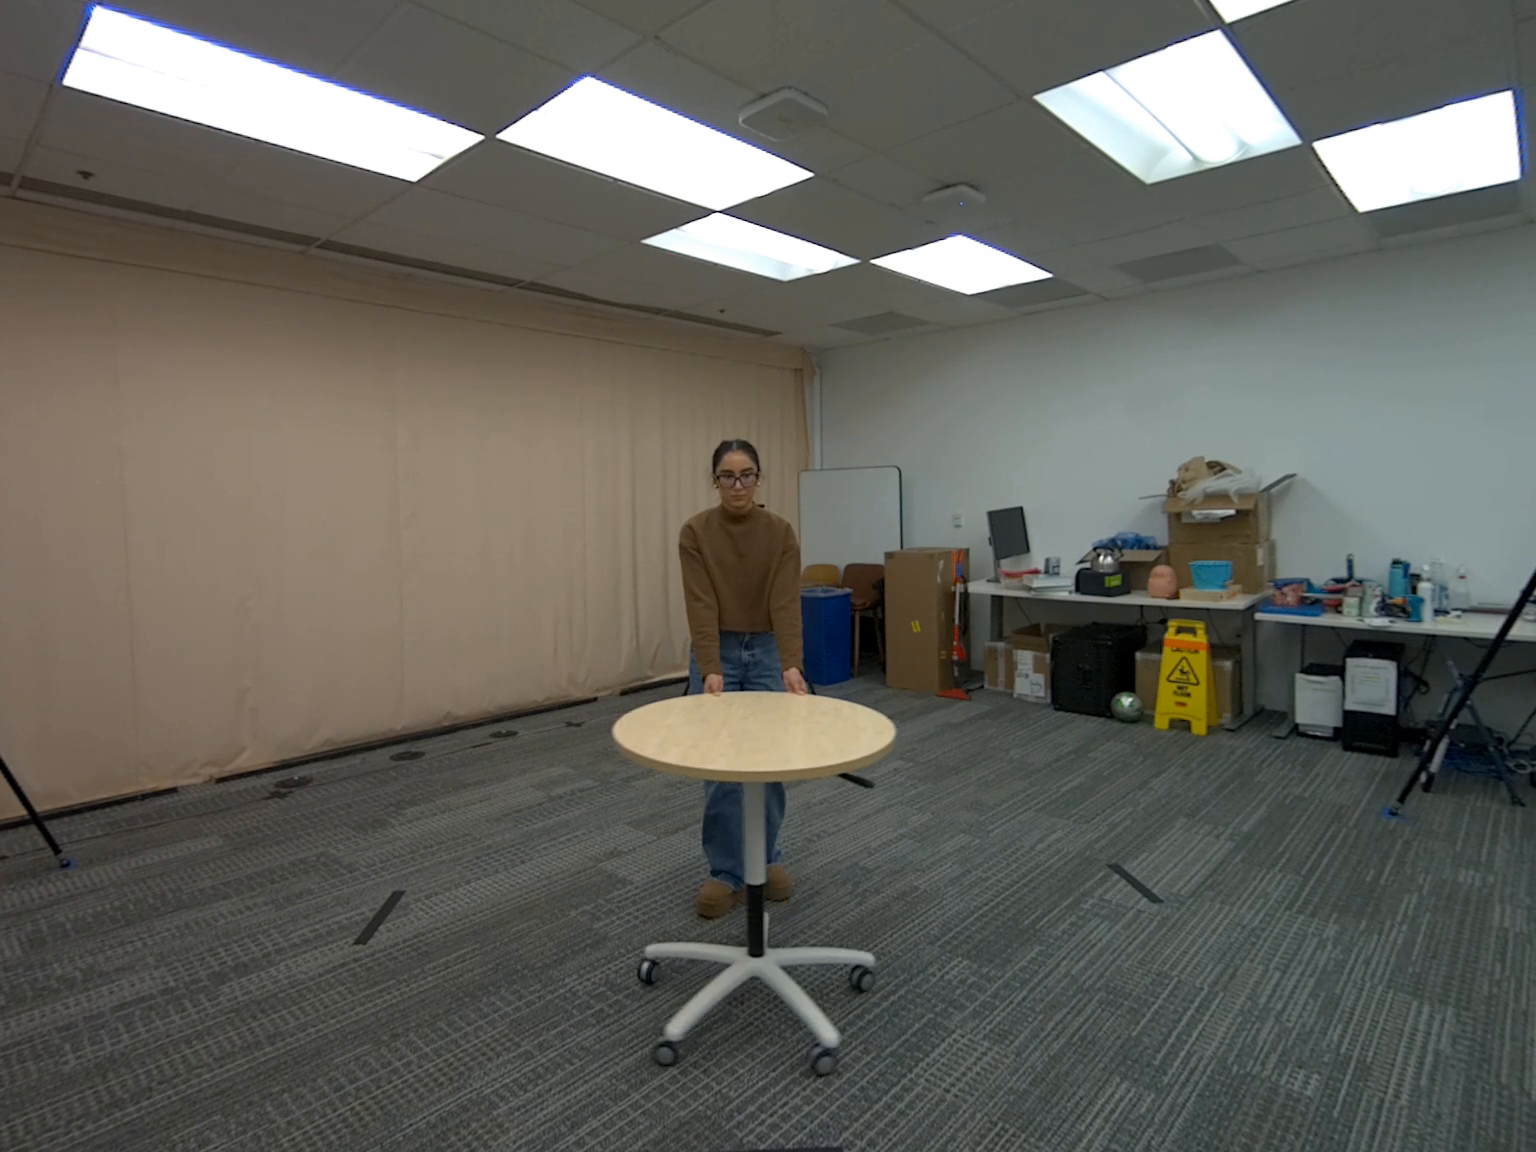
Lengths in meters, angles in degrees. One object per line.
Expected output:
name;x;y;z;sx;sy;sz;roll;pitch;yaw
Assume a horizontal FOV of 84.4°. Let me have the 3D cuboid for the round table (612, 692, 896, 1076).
round table;-0.050;0.795;2.365;0.784;0.784;0.788;-1;4;-2
